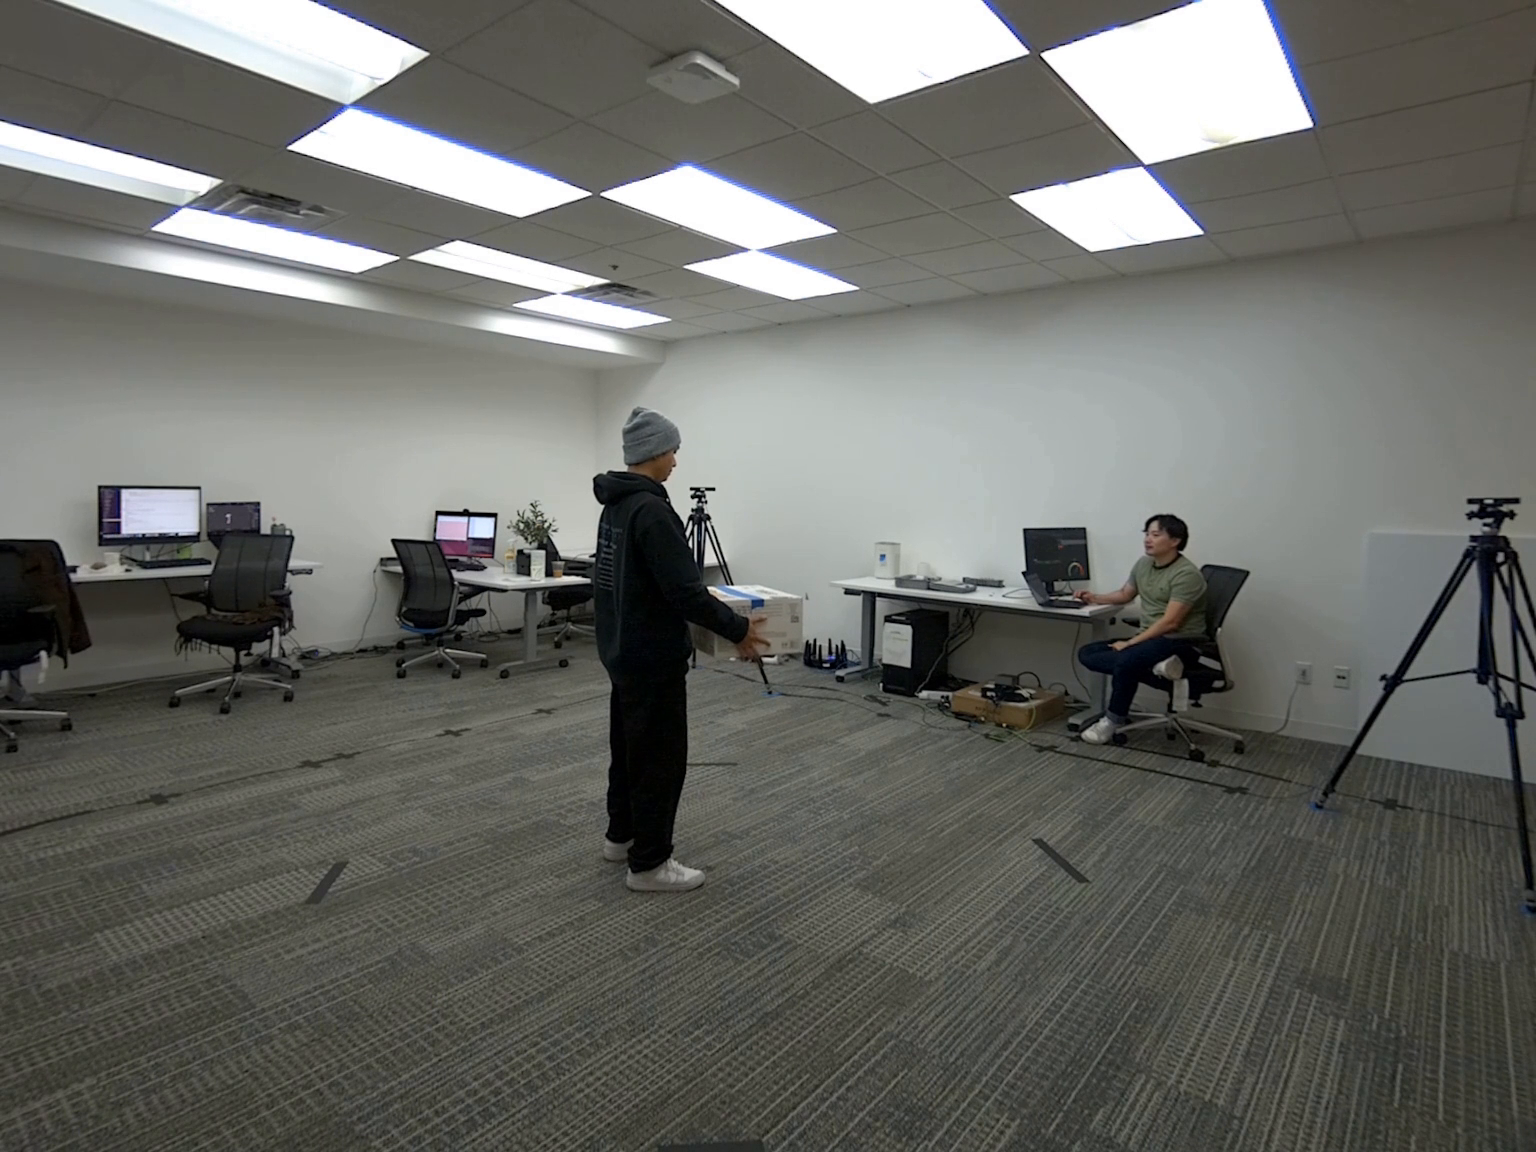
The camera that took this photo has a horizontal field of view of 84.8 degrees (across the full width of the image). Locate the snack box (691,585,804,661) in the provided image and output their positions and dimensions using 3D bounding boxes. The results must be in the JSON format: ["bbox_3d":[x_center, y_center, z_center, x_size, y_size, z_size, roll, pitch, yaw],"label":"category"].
[{"bbox_3d":[-0.121,0.163,3.172,0.333,0.205,0.416,-3,6,-22],"label":"snack box"}]
